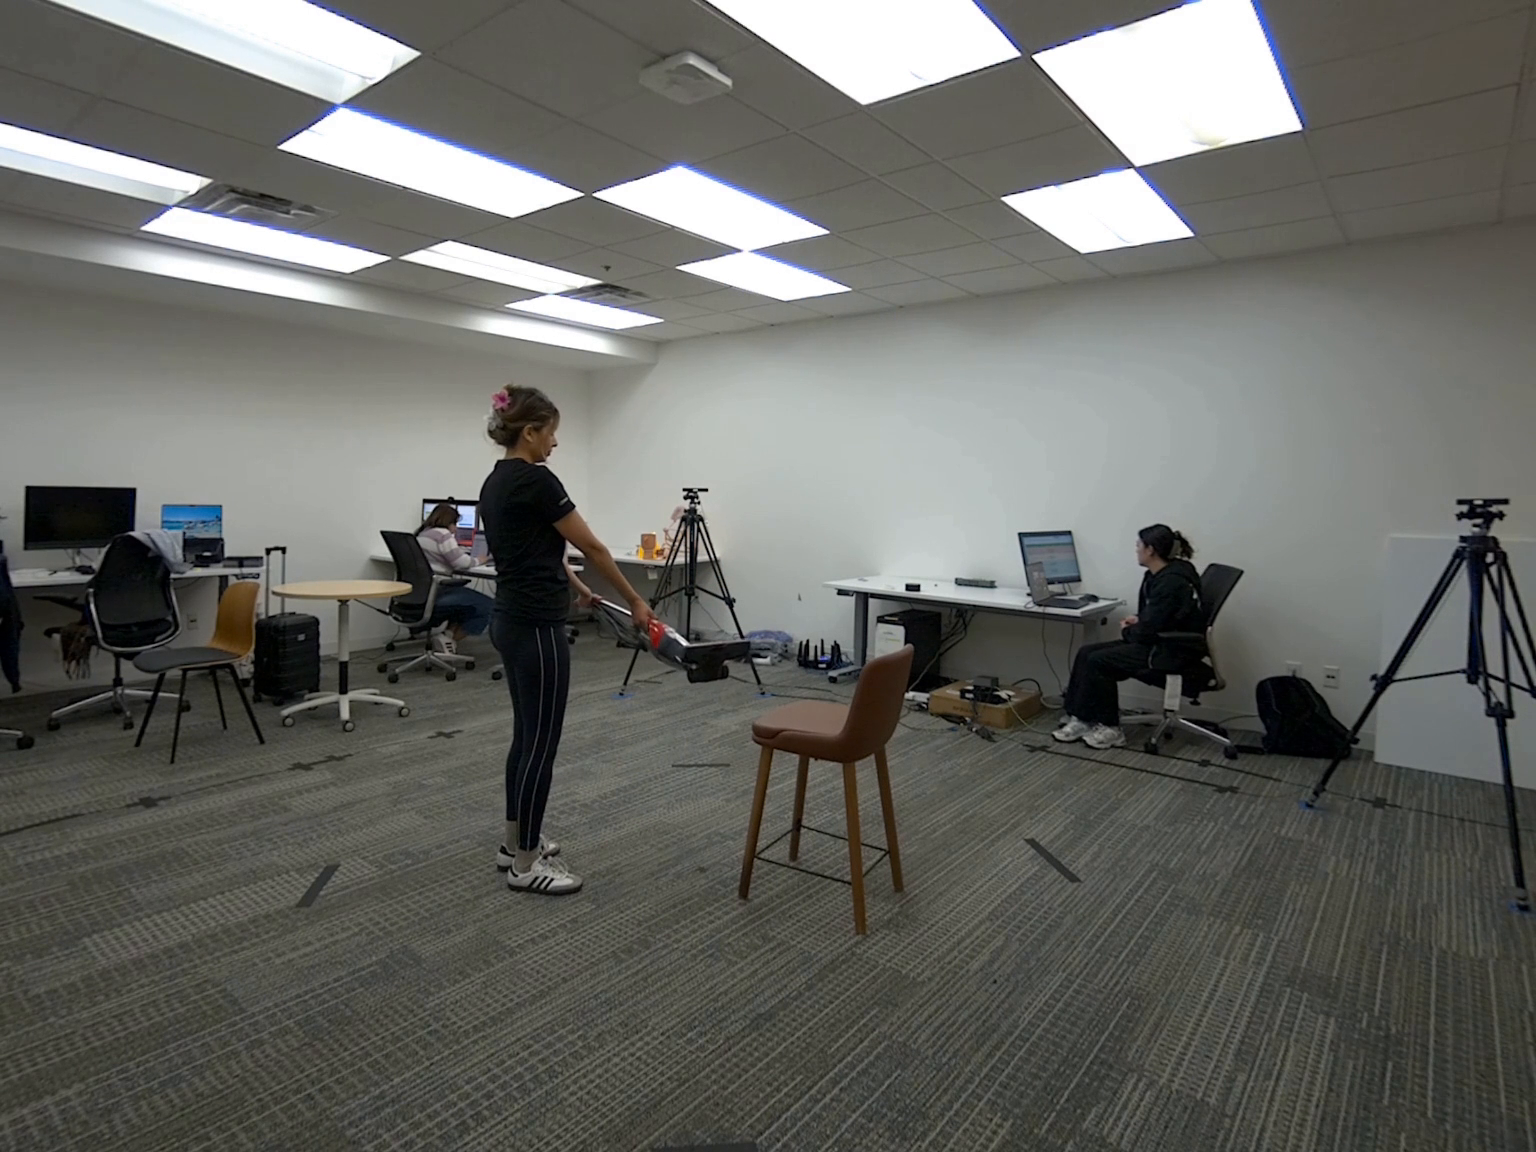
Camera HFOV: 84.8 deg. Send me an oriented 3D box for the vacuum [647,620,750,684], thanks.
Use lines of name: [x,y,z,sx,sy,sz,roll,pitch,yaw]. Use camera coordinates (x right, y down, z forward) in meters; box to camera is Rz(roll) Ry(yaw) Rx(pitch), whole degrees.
vacuum: [-0.501,0.204,3.124,0.245,0.143,1.086,-4,10,-35]
